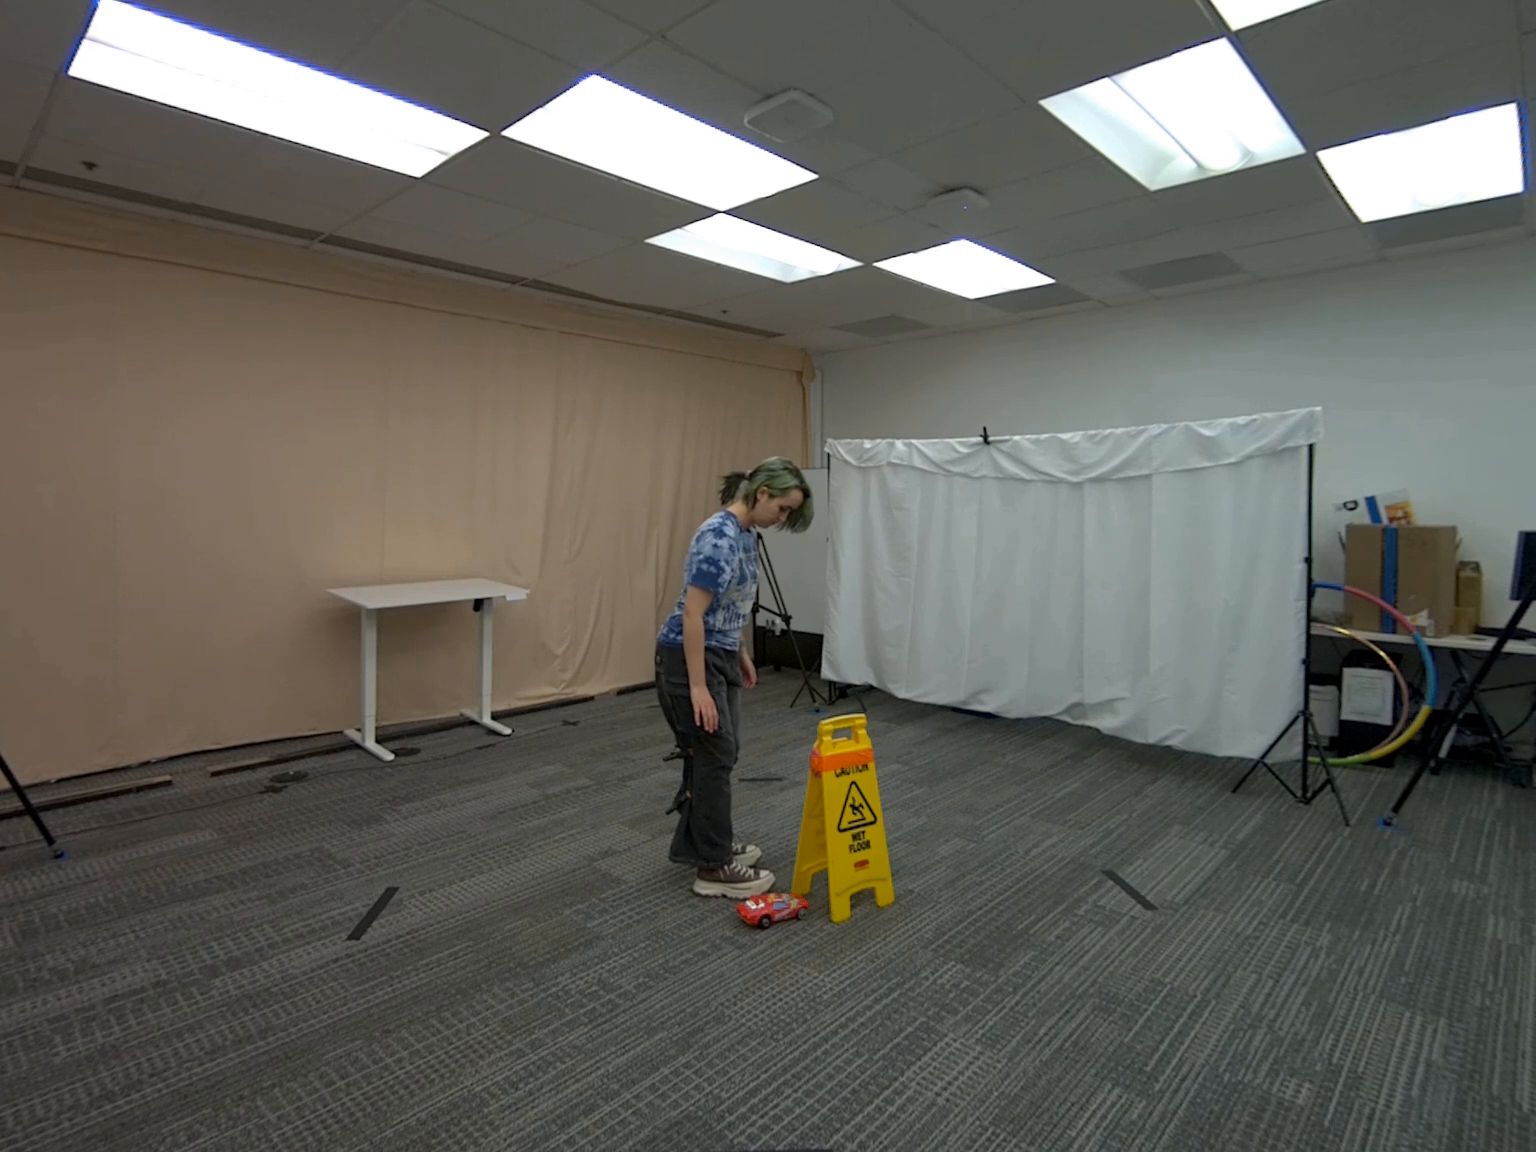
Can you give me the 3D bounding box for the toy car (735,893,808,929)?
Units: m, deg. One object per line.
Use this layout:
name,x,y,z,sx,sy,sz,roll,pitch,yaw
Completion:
toy car,0.009,1.131,2.834,0.248,0.083,0.133,13,-3,-25
